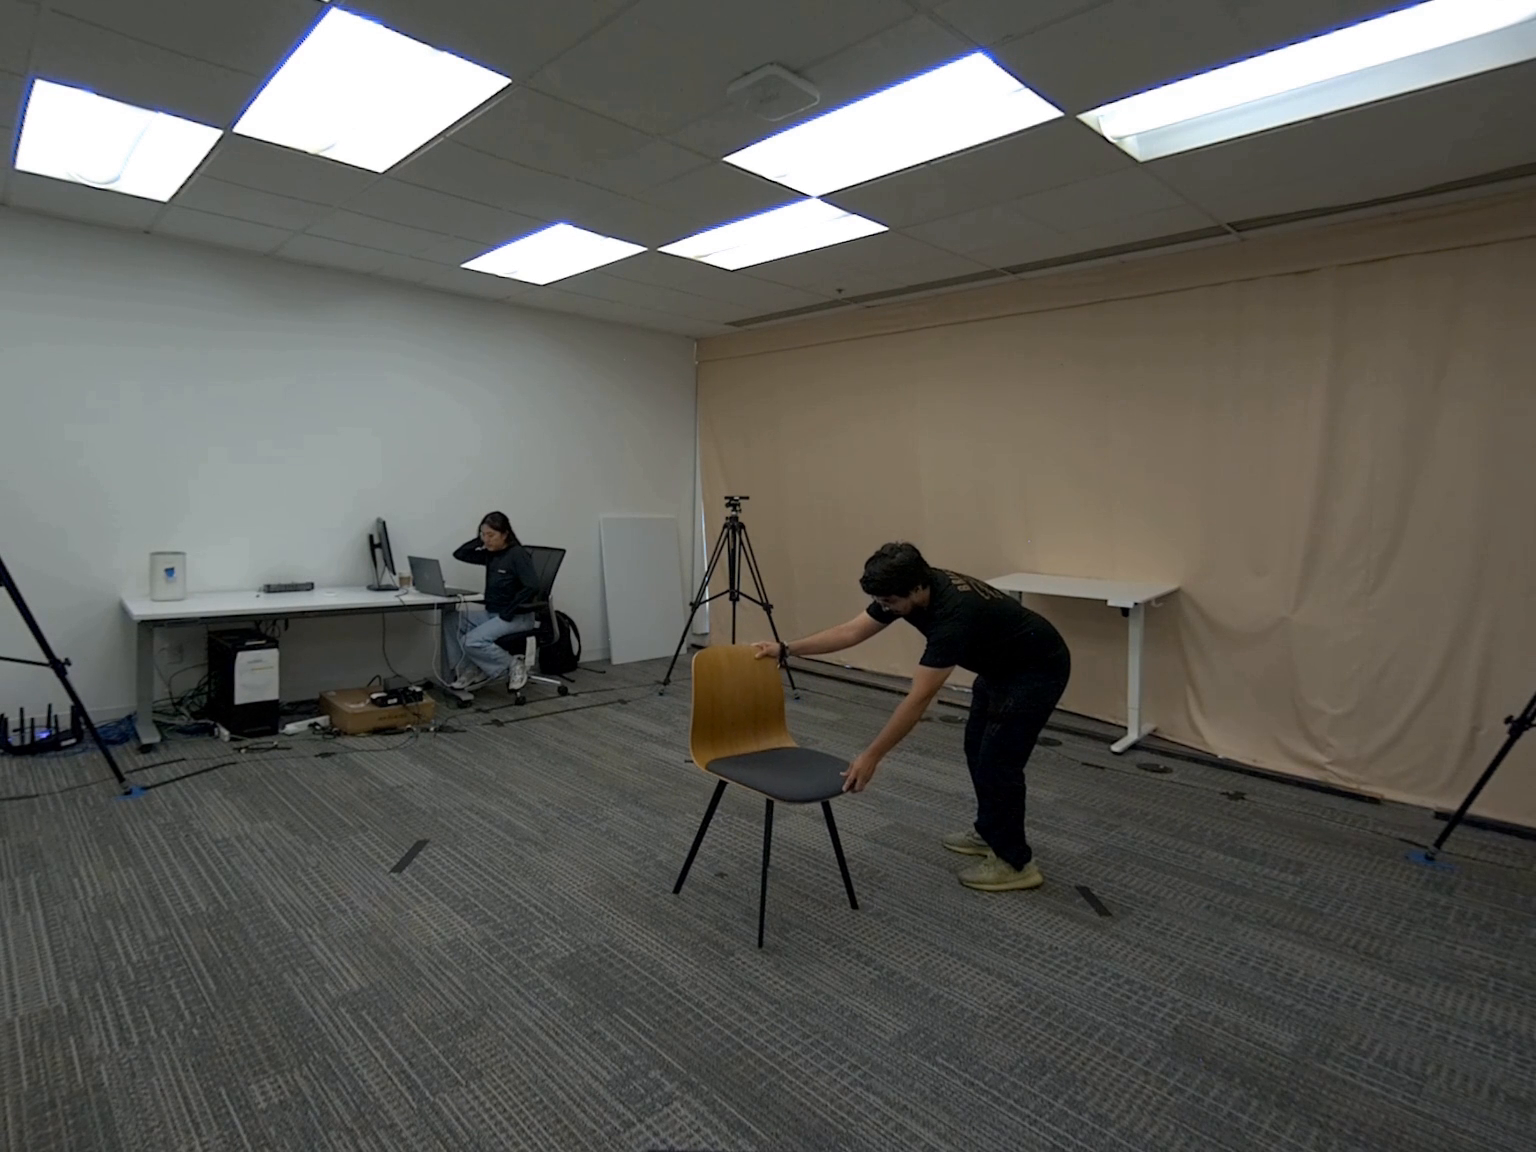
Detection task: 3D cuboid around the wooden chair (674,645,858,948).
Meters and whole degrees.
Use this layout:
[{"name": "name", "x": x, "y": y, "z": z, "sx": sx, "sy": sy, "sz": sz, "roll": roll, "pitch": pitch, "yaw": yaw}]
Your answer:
[{"name": "wooden chair", "x": 0.012, "y": 0.696, "z": 2.859, "sx": 0.467, "sy": 0.878, "sz": 0.535, "roll": 1, "pitch": -1, "yaw": -41}]
